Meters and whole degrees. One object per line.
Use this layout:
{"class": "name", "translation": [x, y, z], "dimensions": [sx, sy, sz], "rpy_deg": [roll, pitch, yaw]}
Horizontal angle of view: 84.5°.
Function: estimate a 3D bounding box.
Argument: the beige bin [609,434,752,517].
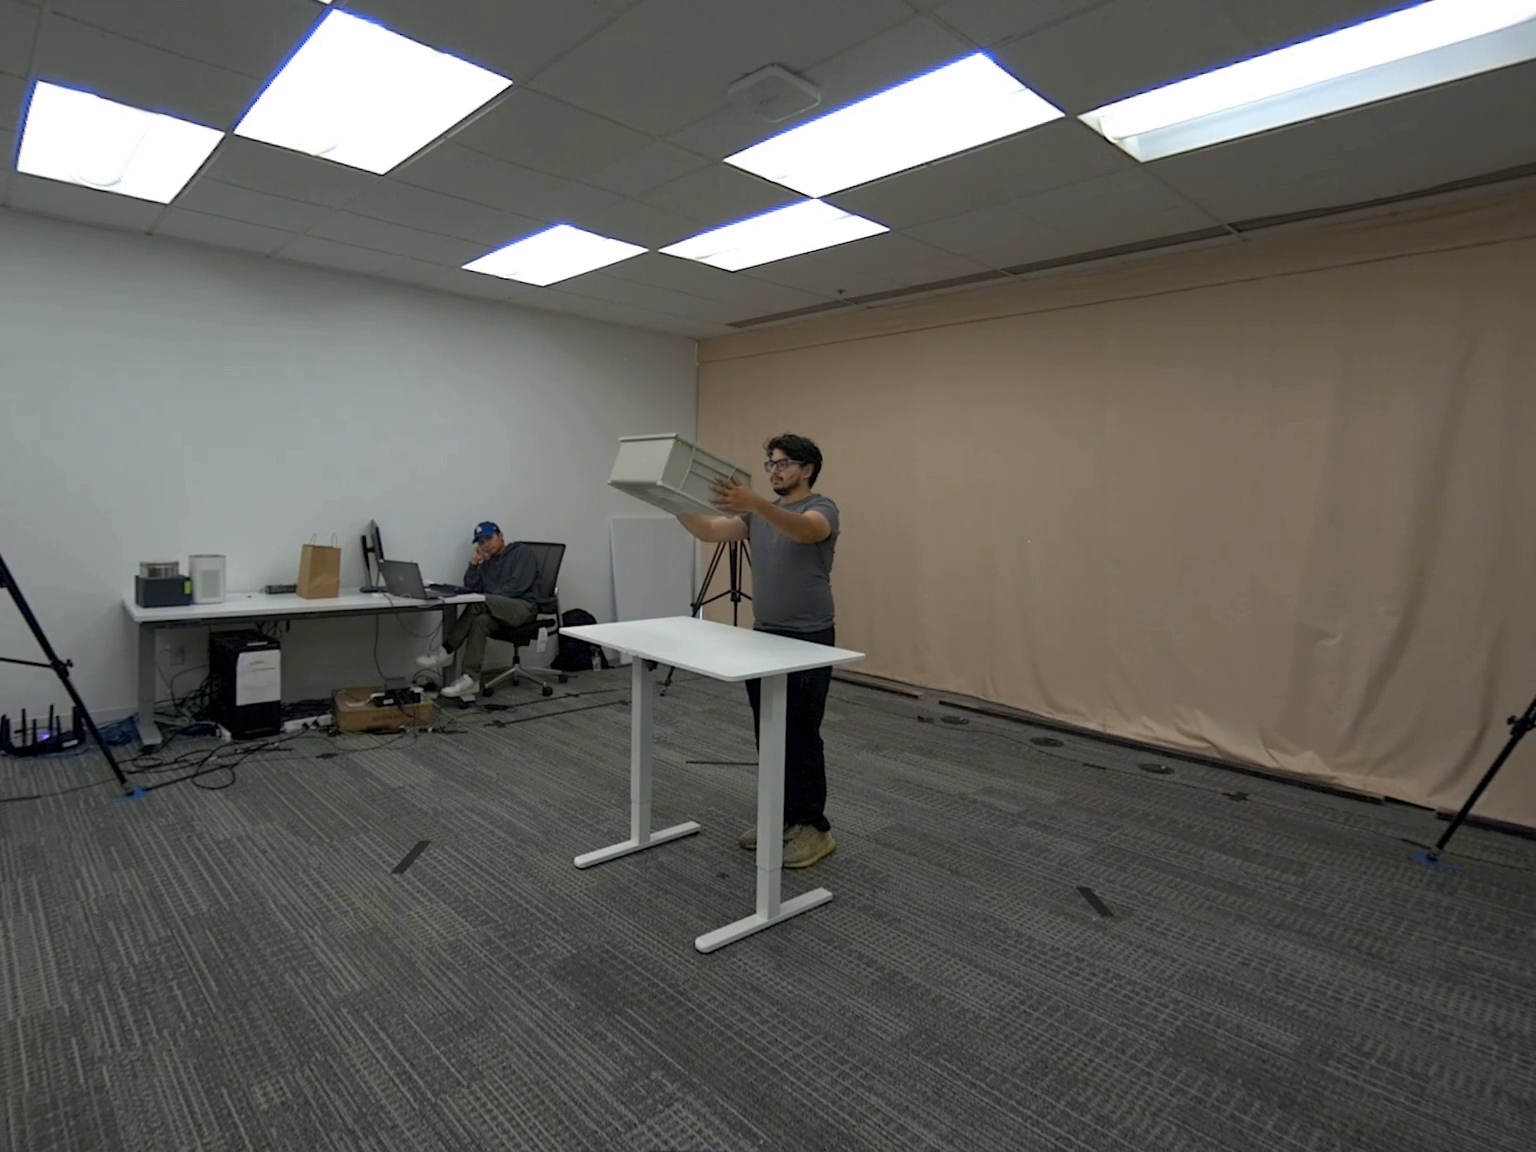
{"class": "beige bin", "translation": [-0.322, -0.335, 3.021], "dimensions": [0.367, 0.189, 0.433], "rpy_deg": [23, -8, -35]}
